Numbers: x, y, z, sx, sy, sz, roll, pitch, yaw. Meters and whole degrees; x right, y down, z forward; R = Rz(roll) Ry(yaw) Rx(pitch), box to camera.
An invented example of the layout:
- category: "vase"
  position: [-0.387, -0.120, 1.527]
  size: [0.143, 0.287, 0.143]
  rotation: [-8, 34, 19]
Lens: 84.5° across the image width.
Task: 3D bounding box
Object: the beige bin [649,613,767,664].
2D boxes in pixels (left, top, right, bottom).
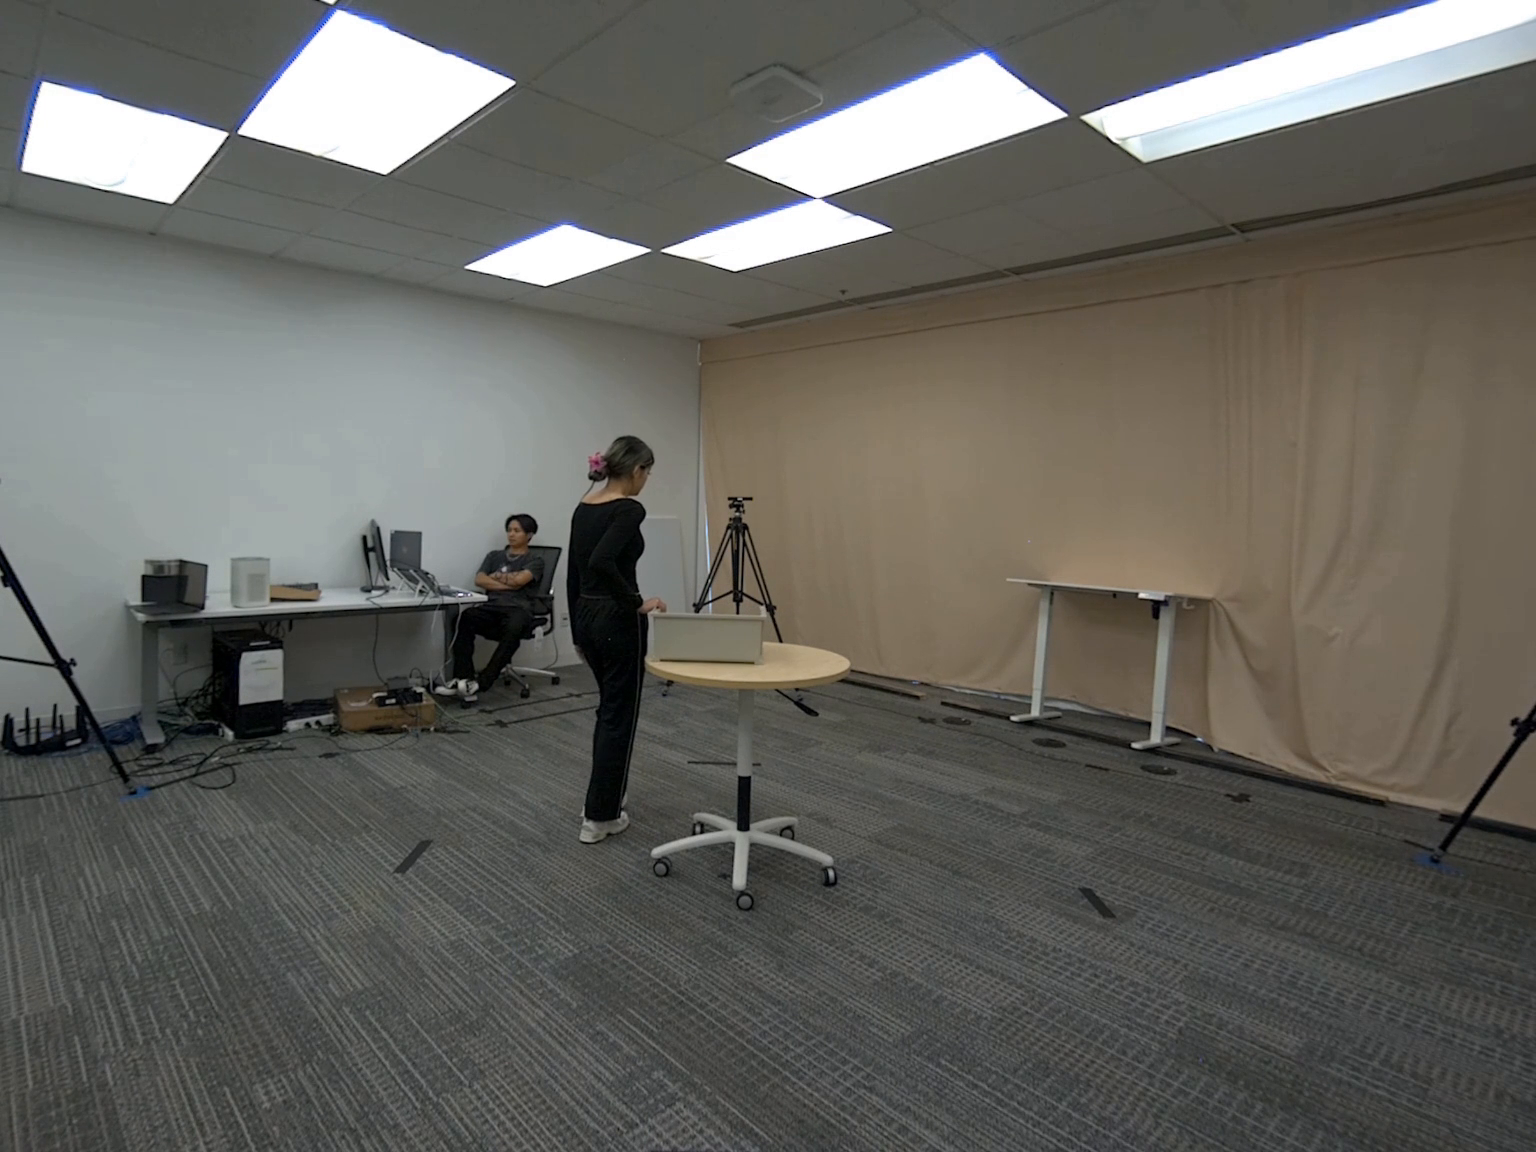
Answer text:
- category: "beige bin"
  position: [-0.227, 0.216, 3.242]
  size: [0.423, 0.188, 0.377]
  rotation: [1, 5, 2]
